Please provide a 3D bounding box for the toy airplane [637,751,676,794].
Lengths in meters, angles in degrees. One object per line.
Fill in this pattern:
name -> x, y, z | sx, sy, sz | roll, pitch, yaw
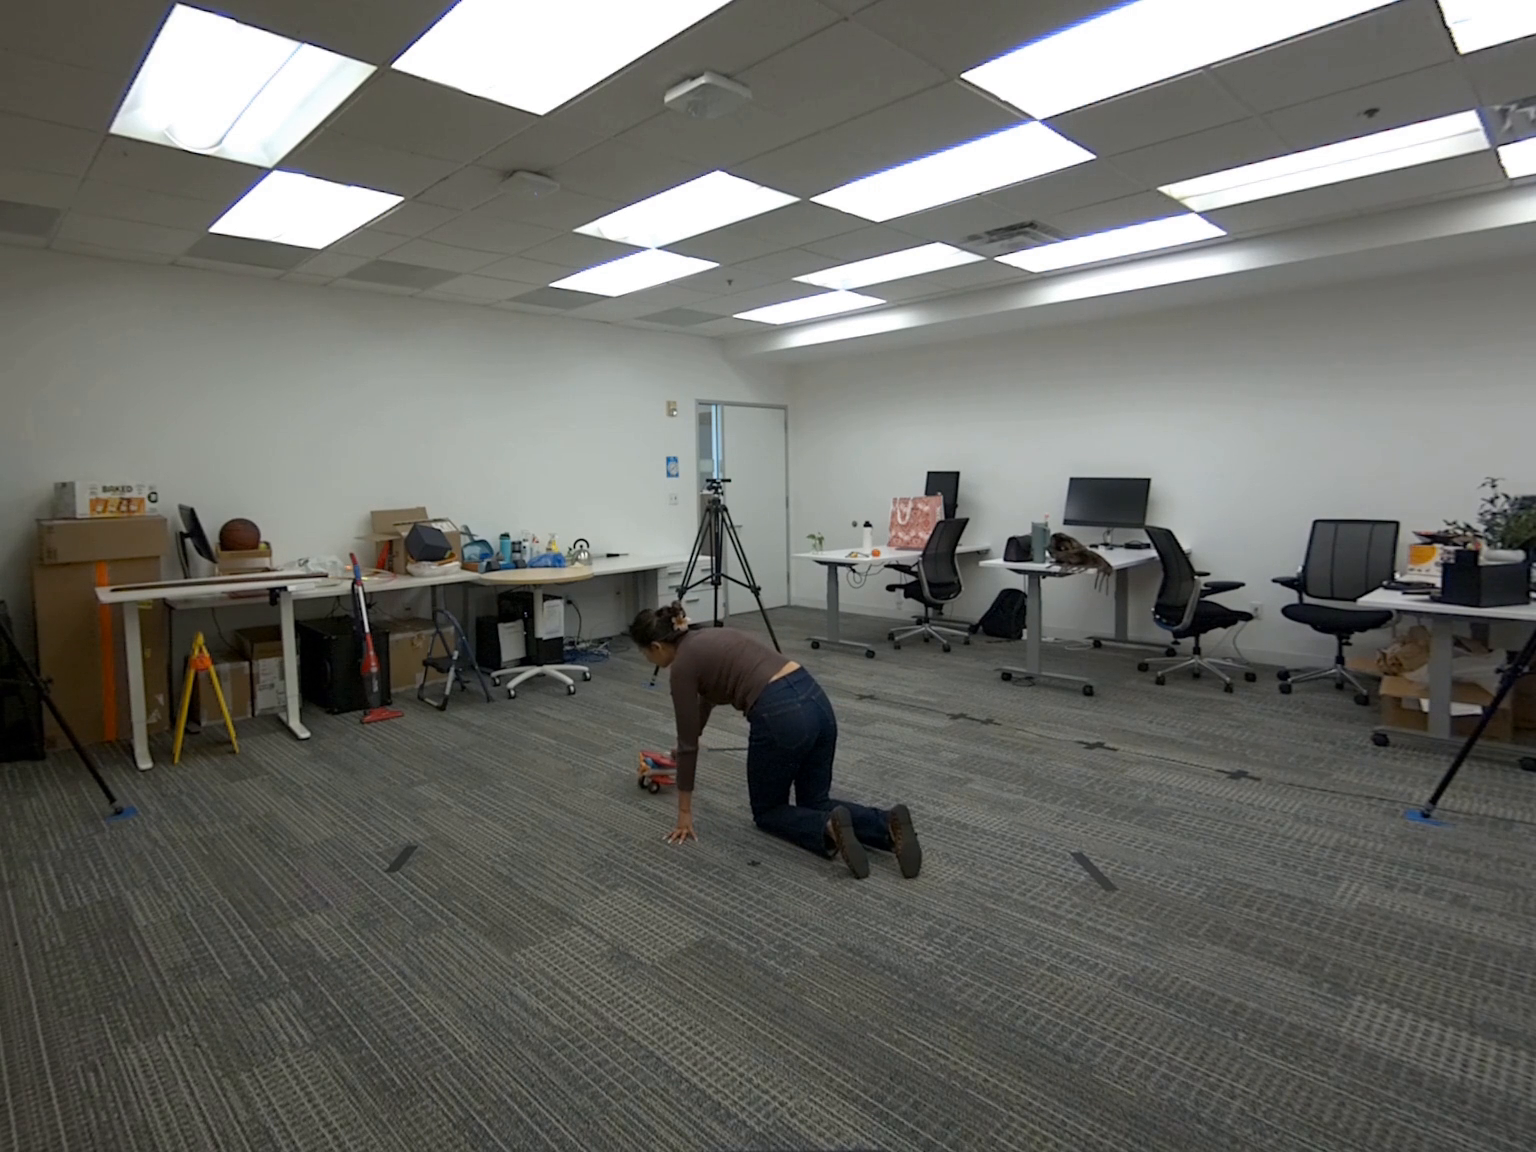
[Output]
toy airplane -> -0.484, 0.890, 3.925 | 0.257, 0.156, 0.255 | 1, 6, 24
